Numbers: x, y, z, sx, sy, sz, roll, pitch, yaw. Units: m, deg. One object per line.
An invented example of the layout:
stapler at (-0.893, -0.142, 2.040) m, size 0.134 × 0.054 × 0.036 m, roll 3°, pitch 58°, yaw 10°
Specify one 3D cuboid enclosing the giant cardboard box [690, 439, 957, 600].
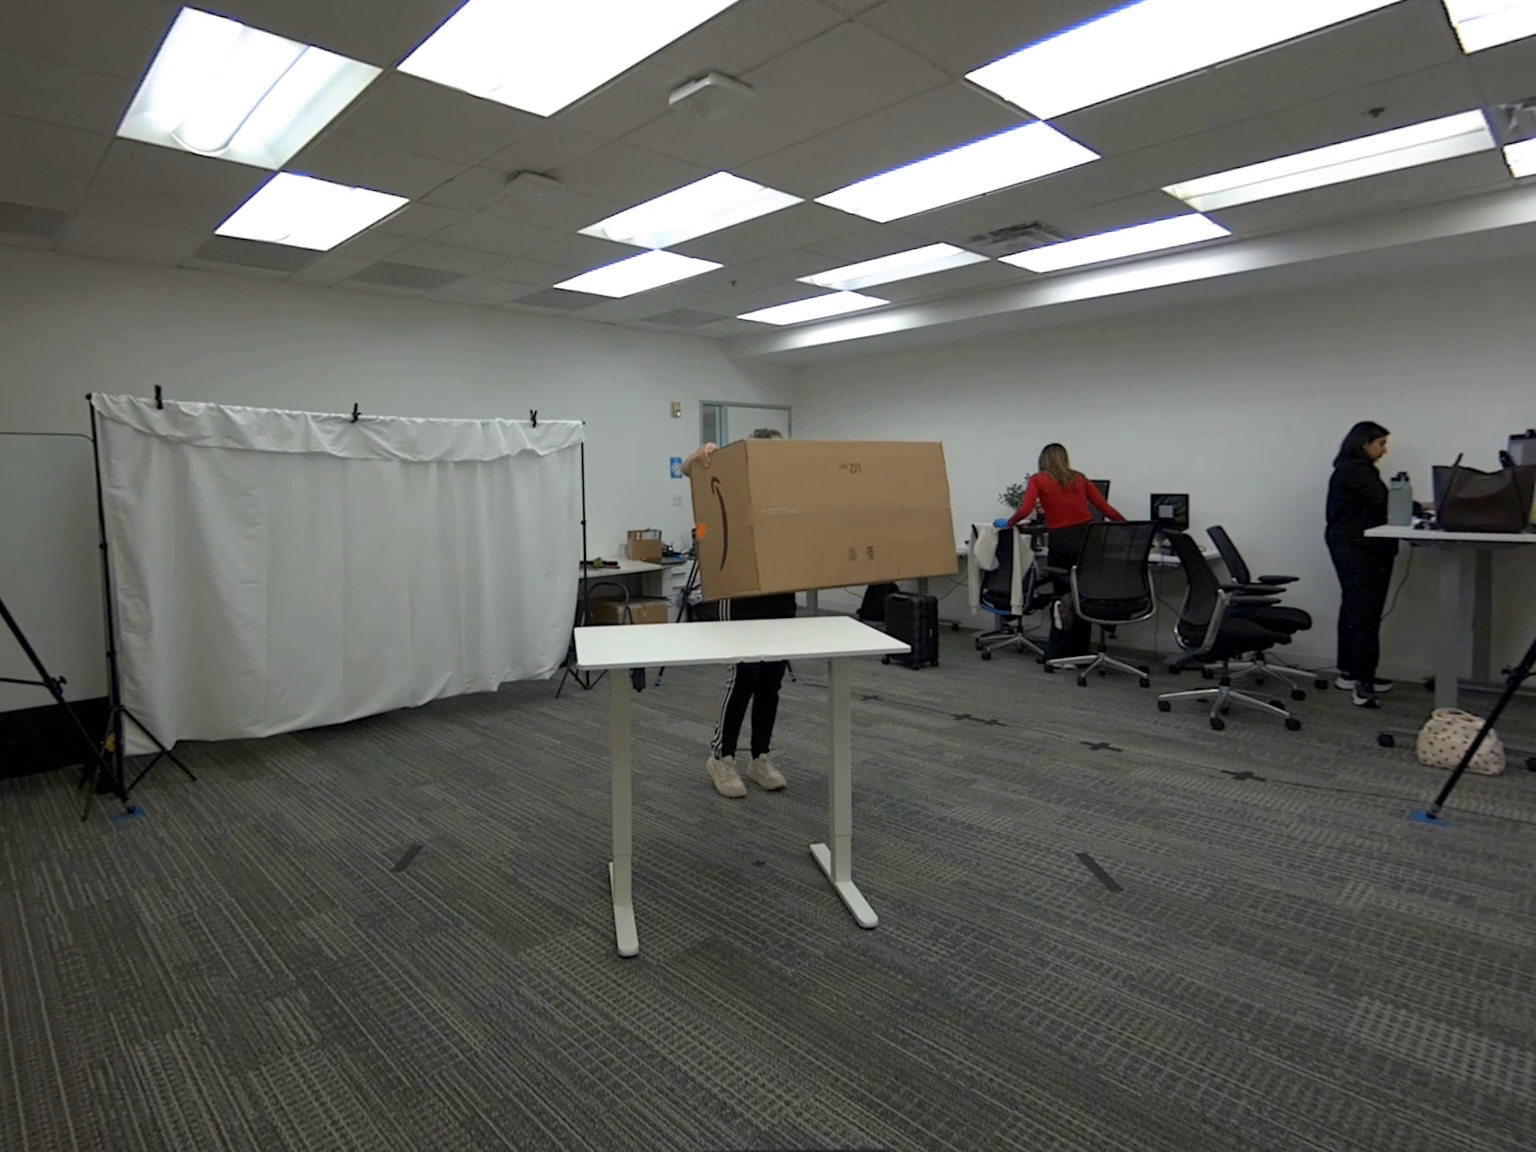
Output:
giant cardboard box at (0.234, -0.239, 3.563) m, size 1.002 × 0.587 × 0.456 m, roll -4°, pitch -5°, yaw -33°
